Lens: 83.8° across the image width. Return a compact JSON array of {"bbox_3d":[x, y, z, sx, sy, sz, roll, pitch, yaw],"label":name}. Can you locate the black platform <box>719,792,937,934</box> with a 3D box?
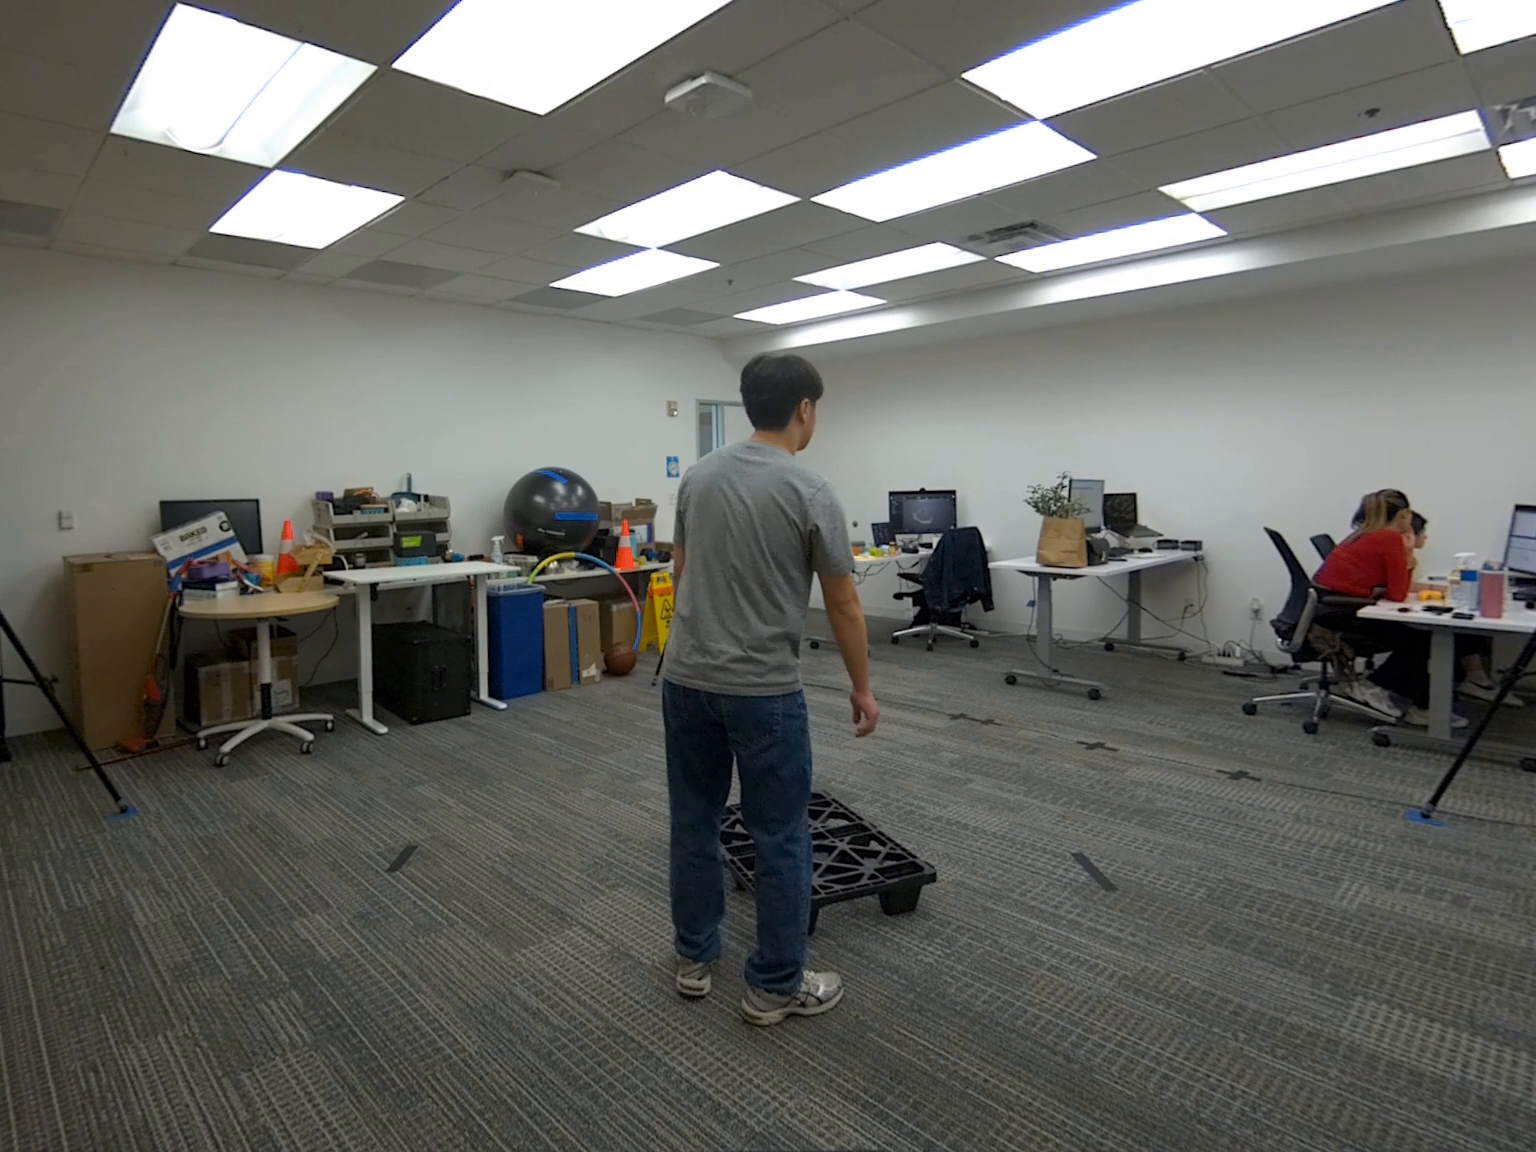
[{"bbox_3d":[0.116,0.988,2.997,0.594,0.143,0.824,-4,7,-23],"label":"black platform"}]
